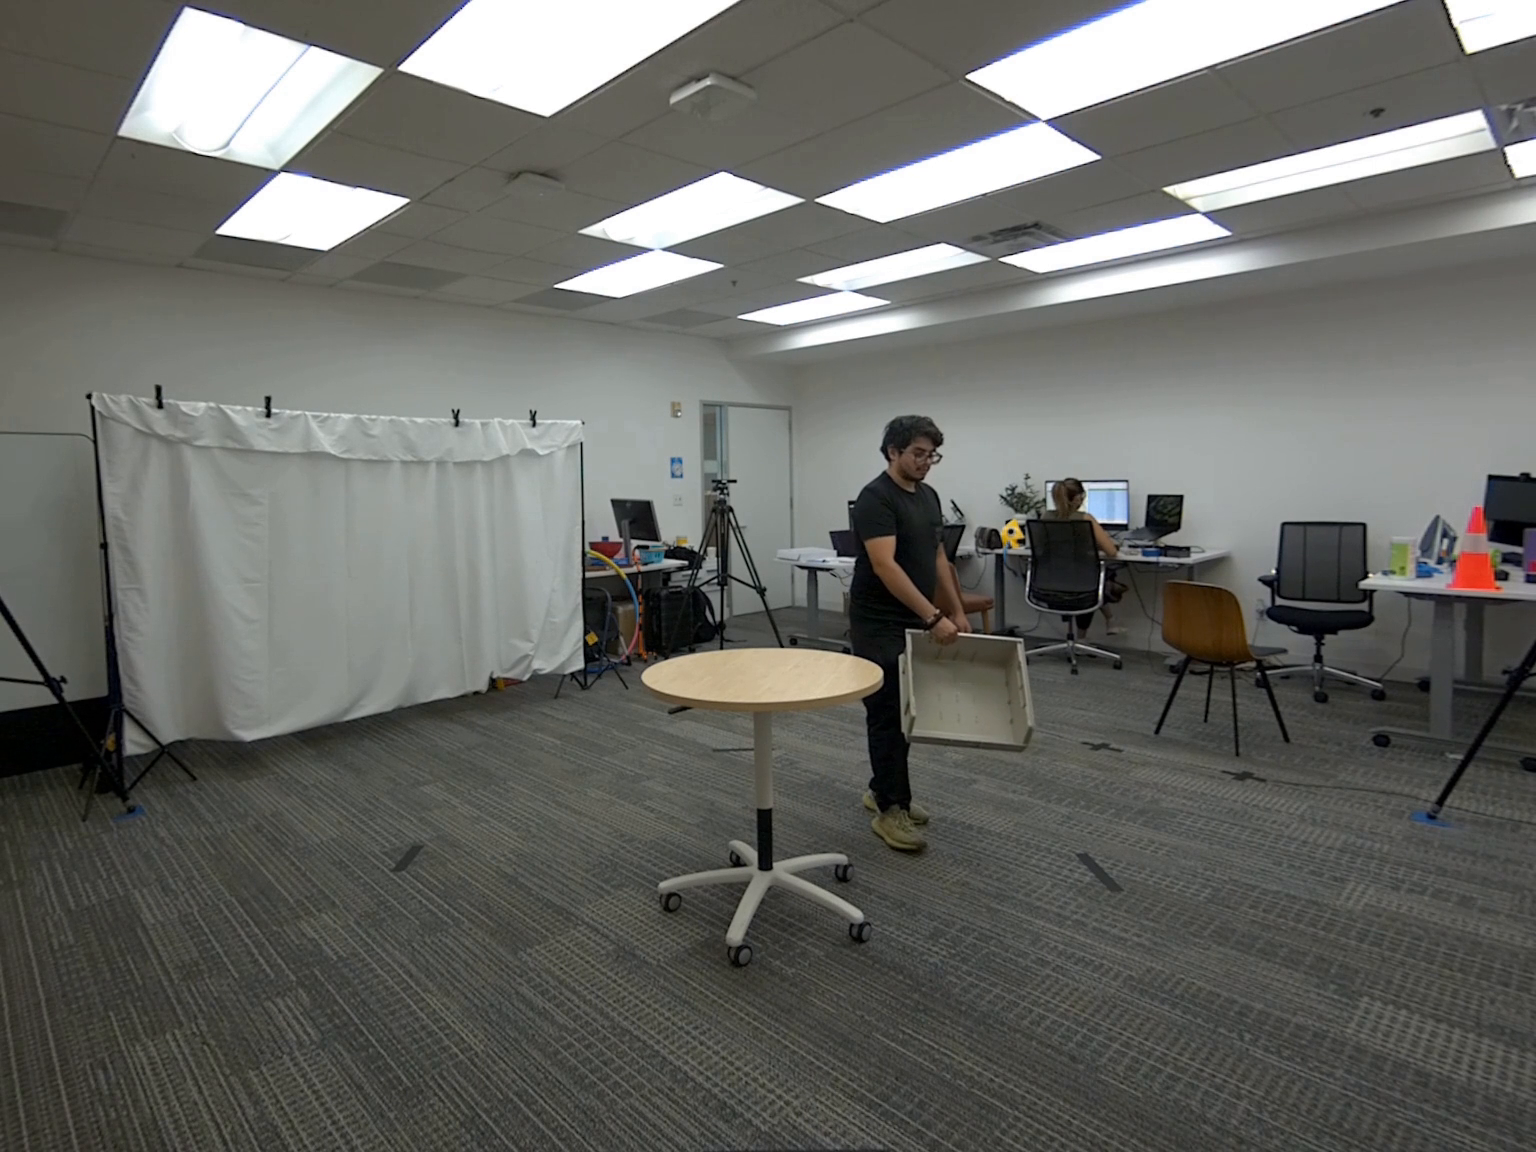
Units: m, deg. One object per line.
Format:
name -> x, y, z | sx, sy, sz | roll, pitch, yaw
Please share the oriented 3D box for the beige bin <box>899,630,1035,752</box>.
beige bin -> 0.700, 0.418, 3.062 | 0.424, 0.386, 0.184 | 3, -36, 4
